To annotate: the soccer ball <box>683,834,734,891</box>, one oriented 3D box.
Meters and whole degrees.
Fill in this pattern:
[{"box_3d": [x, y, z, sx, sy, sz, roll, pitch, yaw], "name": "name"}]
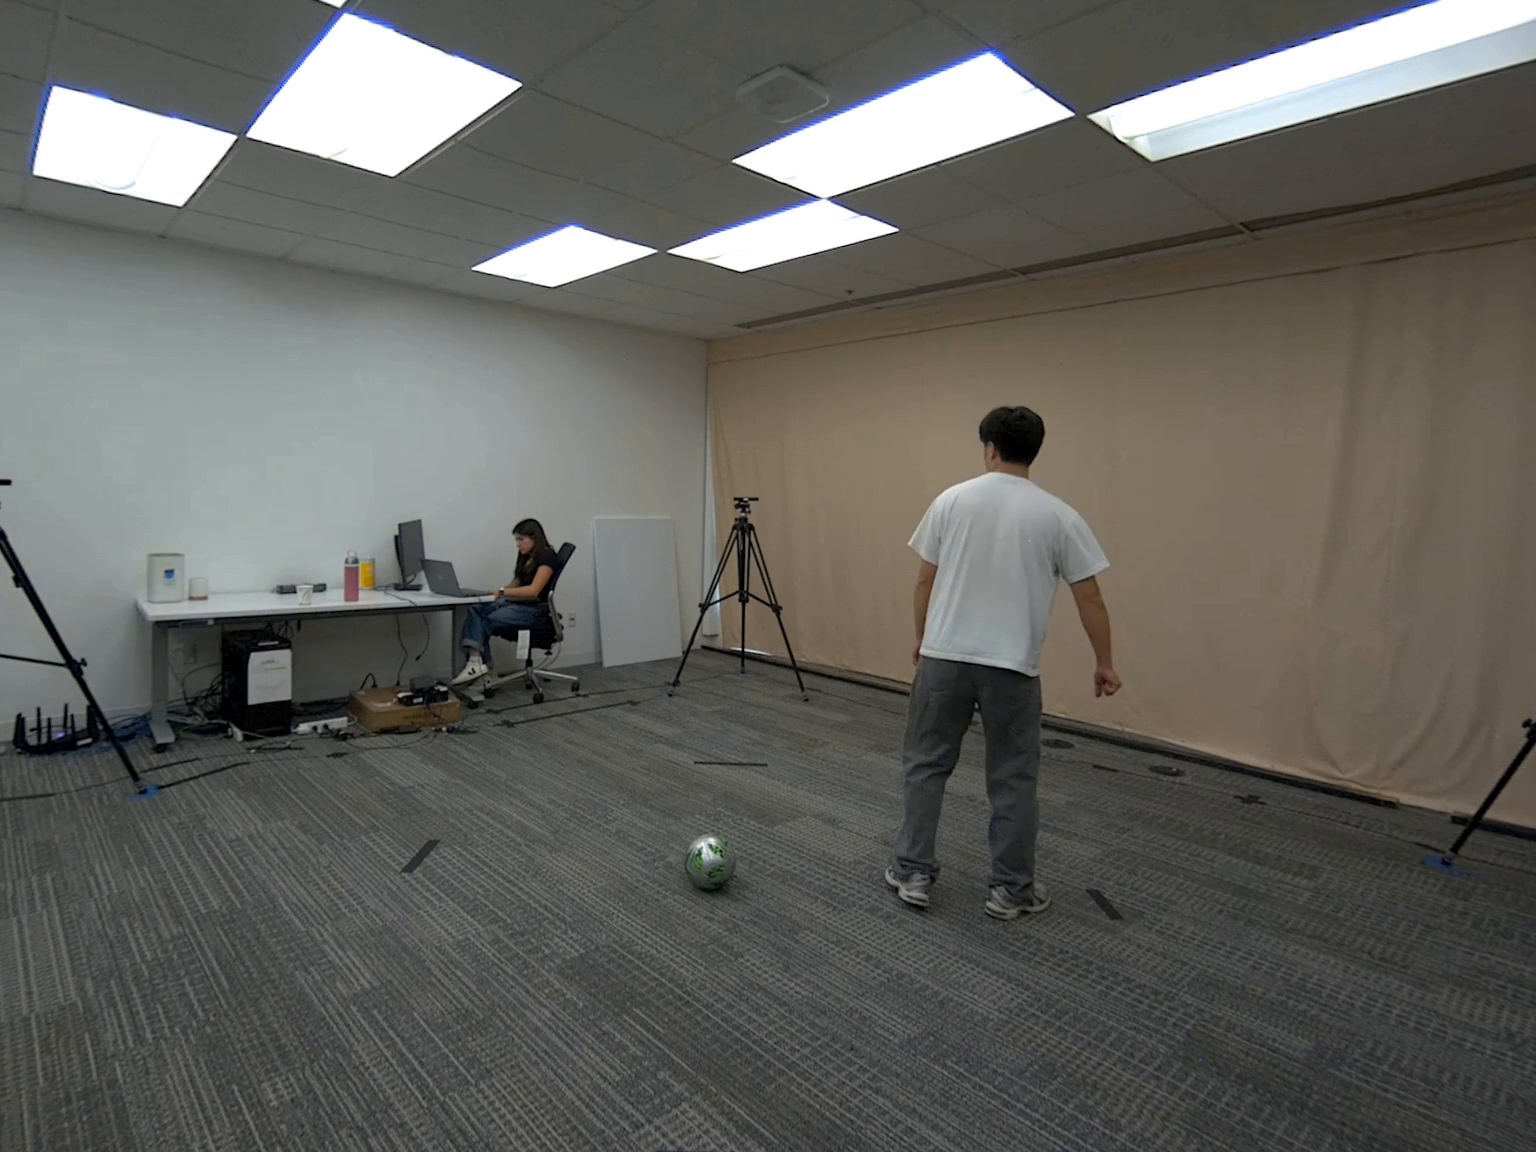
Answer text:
[{"box_3d": [-0.209, 1.016, 3.018, 0.187, 0.187, 0.188, 1, 4, -1], "name": "soccer ball"}]
